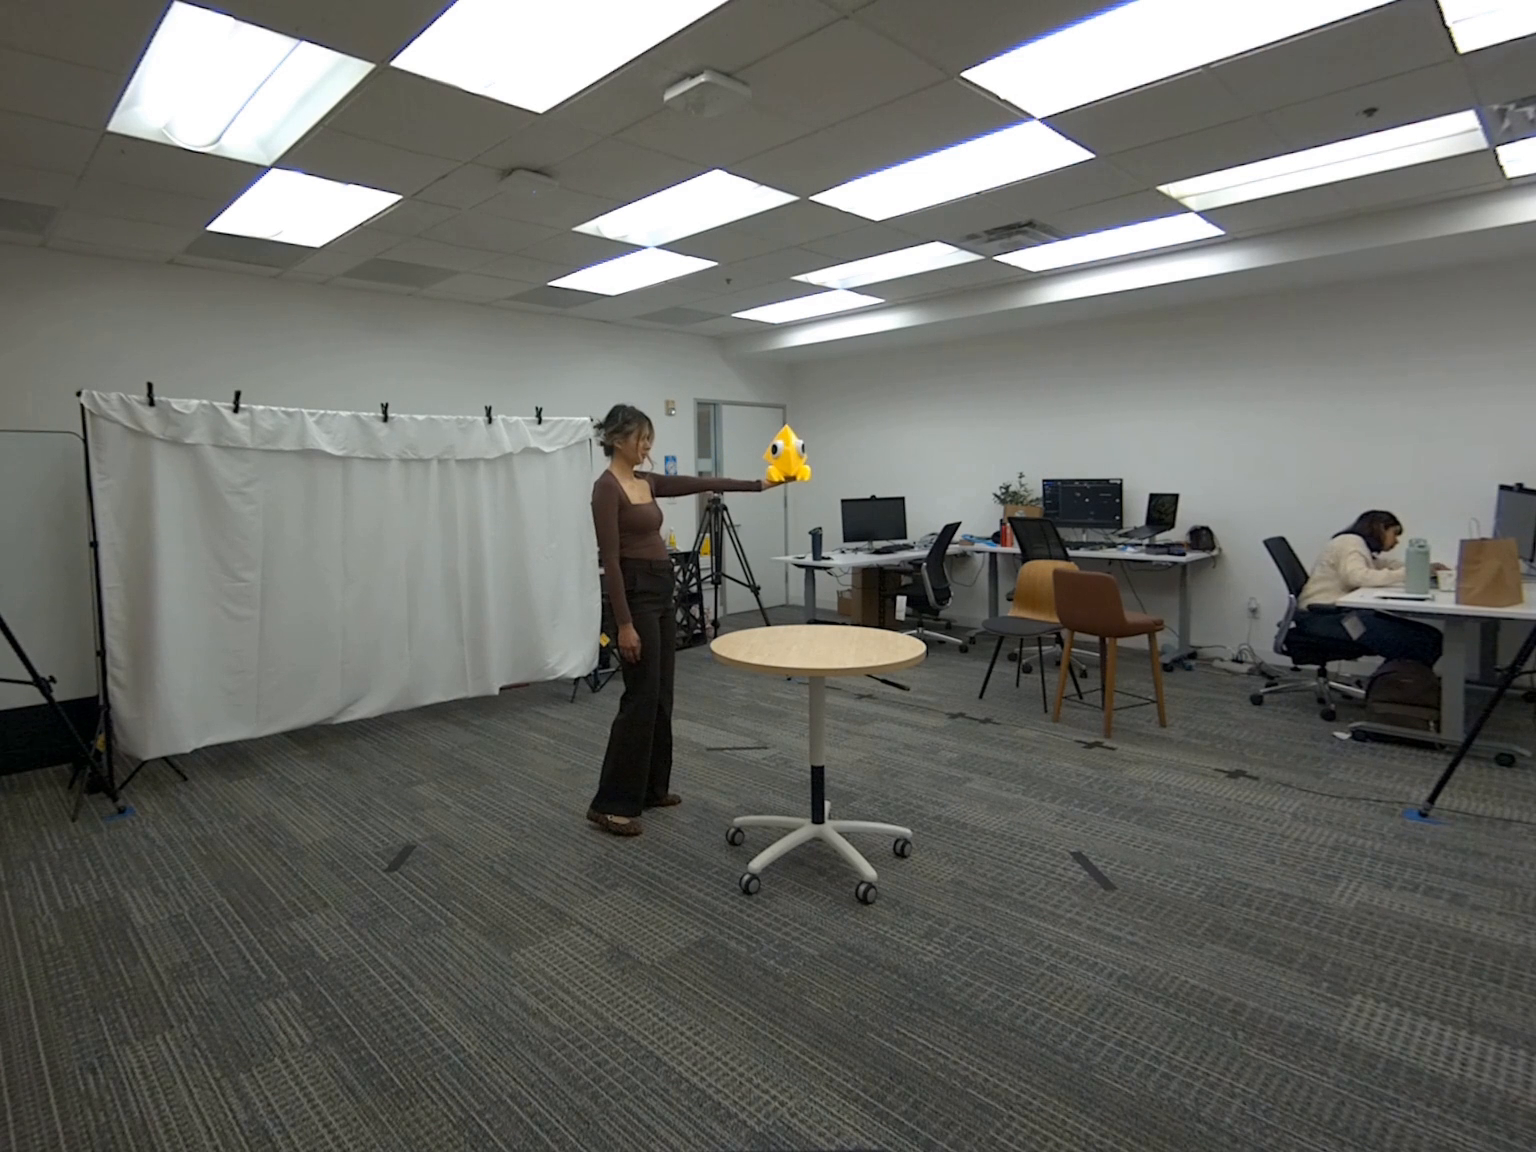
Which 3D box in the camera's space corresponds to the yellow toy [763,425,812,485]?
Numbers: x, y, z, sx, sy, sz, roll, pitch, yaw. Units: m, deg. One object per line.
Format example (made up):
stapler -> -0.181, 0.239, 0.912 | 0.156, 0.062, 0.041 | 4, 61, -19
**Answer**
yellow toy -> 0.090, -0.548, 3.775 | 0.204, 0.228, 0.196 | -1, 14, -6
